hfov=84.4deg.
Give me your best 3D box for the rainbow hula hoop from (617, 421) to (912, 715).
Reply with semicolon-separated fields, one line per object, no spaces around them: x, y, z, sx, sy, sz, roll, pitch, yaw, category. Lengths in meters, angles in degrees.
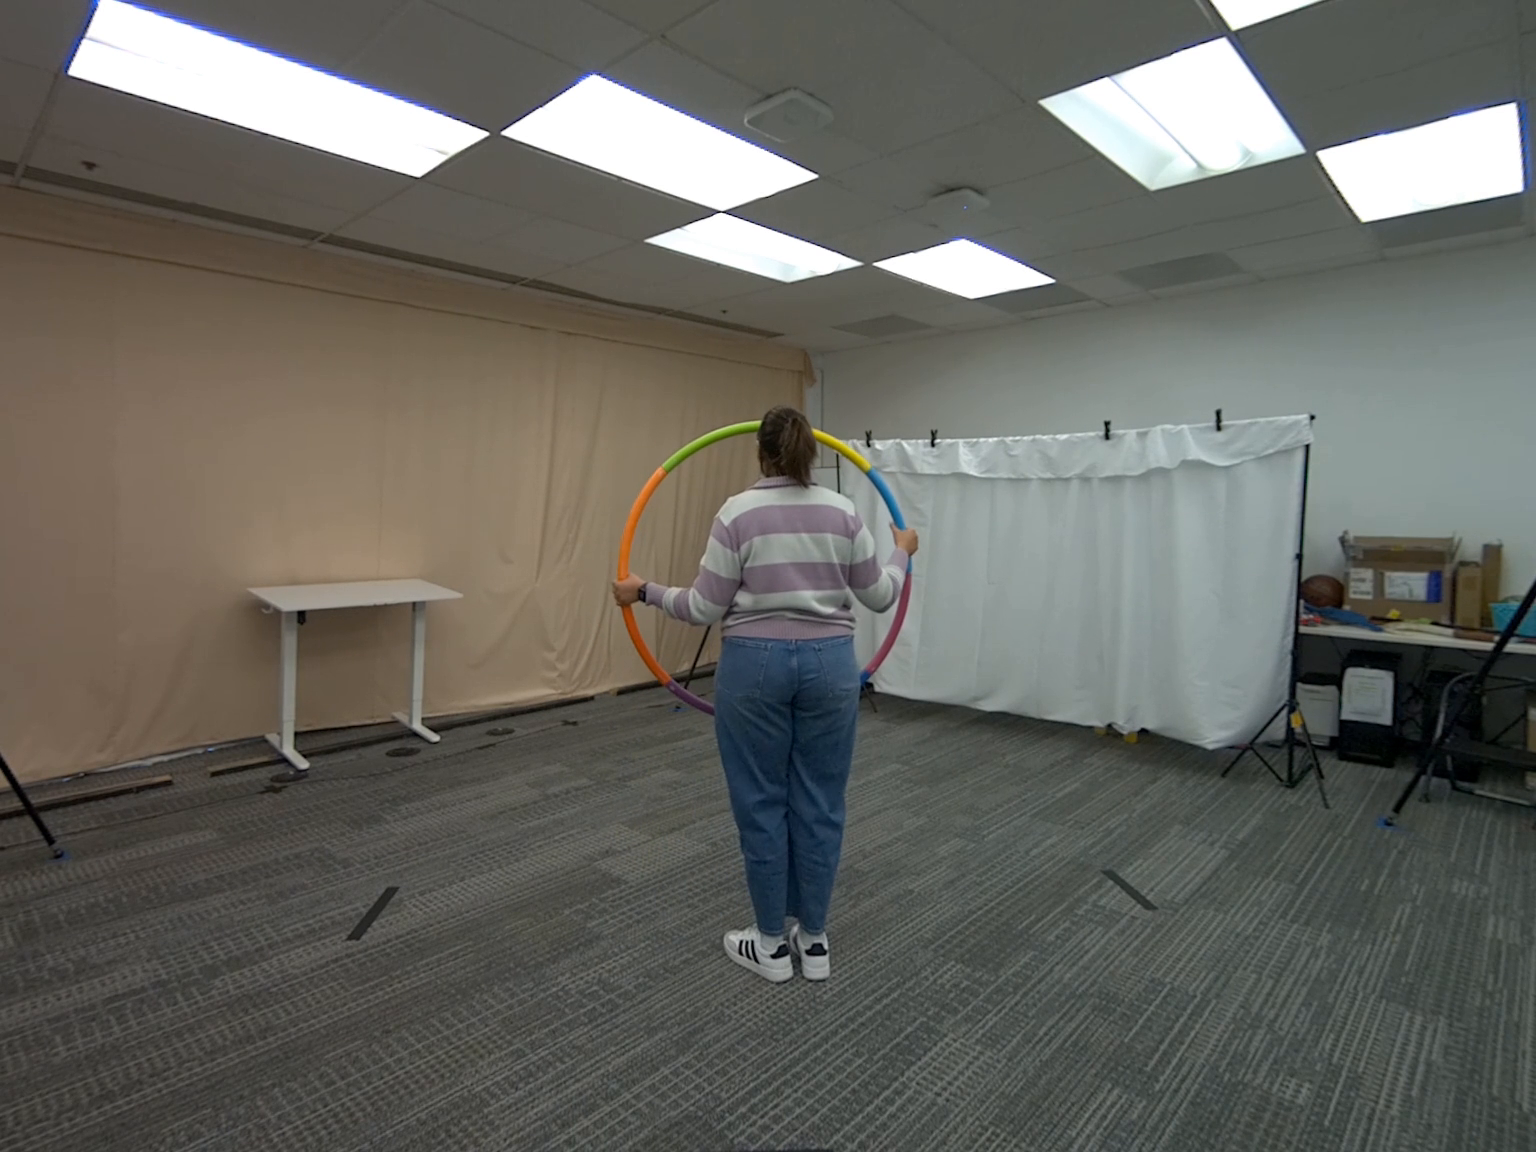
-0.004;-0.005;2.746;0.971;0.975;0.036;0;6;-7;rainbow hula hoop
